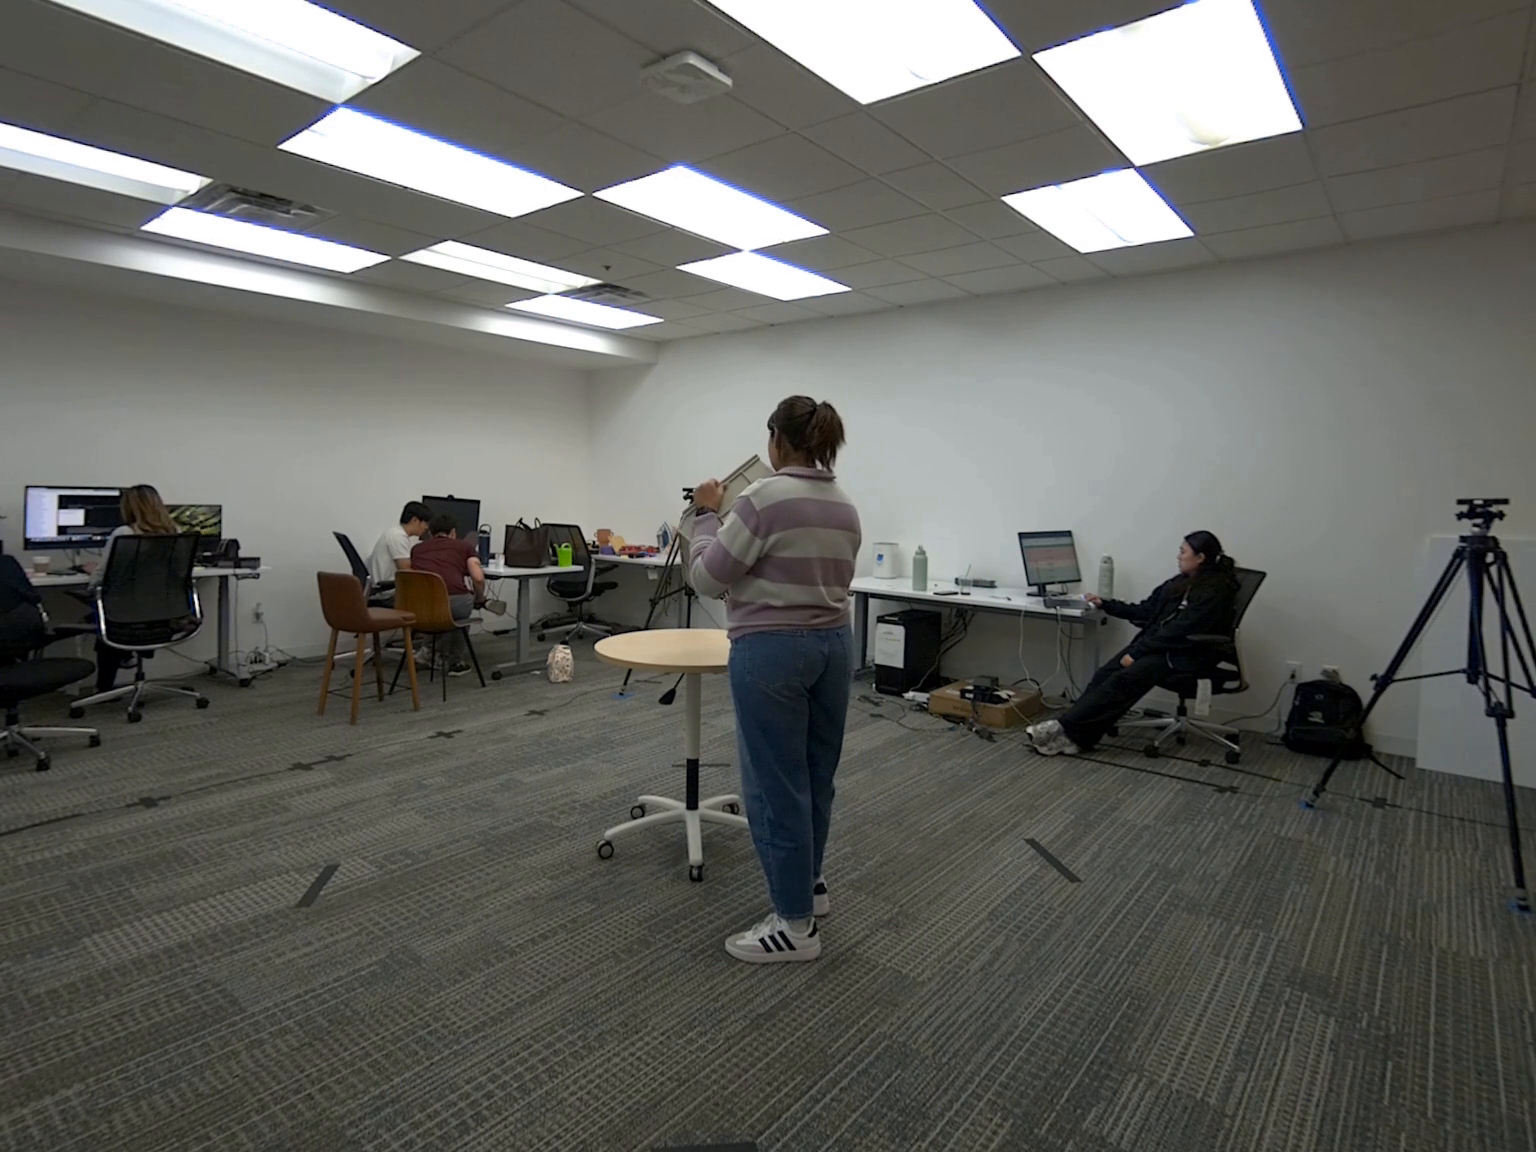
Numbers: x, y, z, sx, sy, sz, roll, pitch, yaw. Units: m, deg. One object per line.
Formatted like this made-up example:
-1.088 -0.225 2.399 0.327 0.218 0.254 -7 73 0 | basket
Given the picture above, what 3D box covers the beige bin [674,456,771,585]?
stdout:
-0.136 -0.148 2.832 0.376 0.193 0.414 -41 -14 -15 | beige bin
